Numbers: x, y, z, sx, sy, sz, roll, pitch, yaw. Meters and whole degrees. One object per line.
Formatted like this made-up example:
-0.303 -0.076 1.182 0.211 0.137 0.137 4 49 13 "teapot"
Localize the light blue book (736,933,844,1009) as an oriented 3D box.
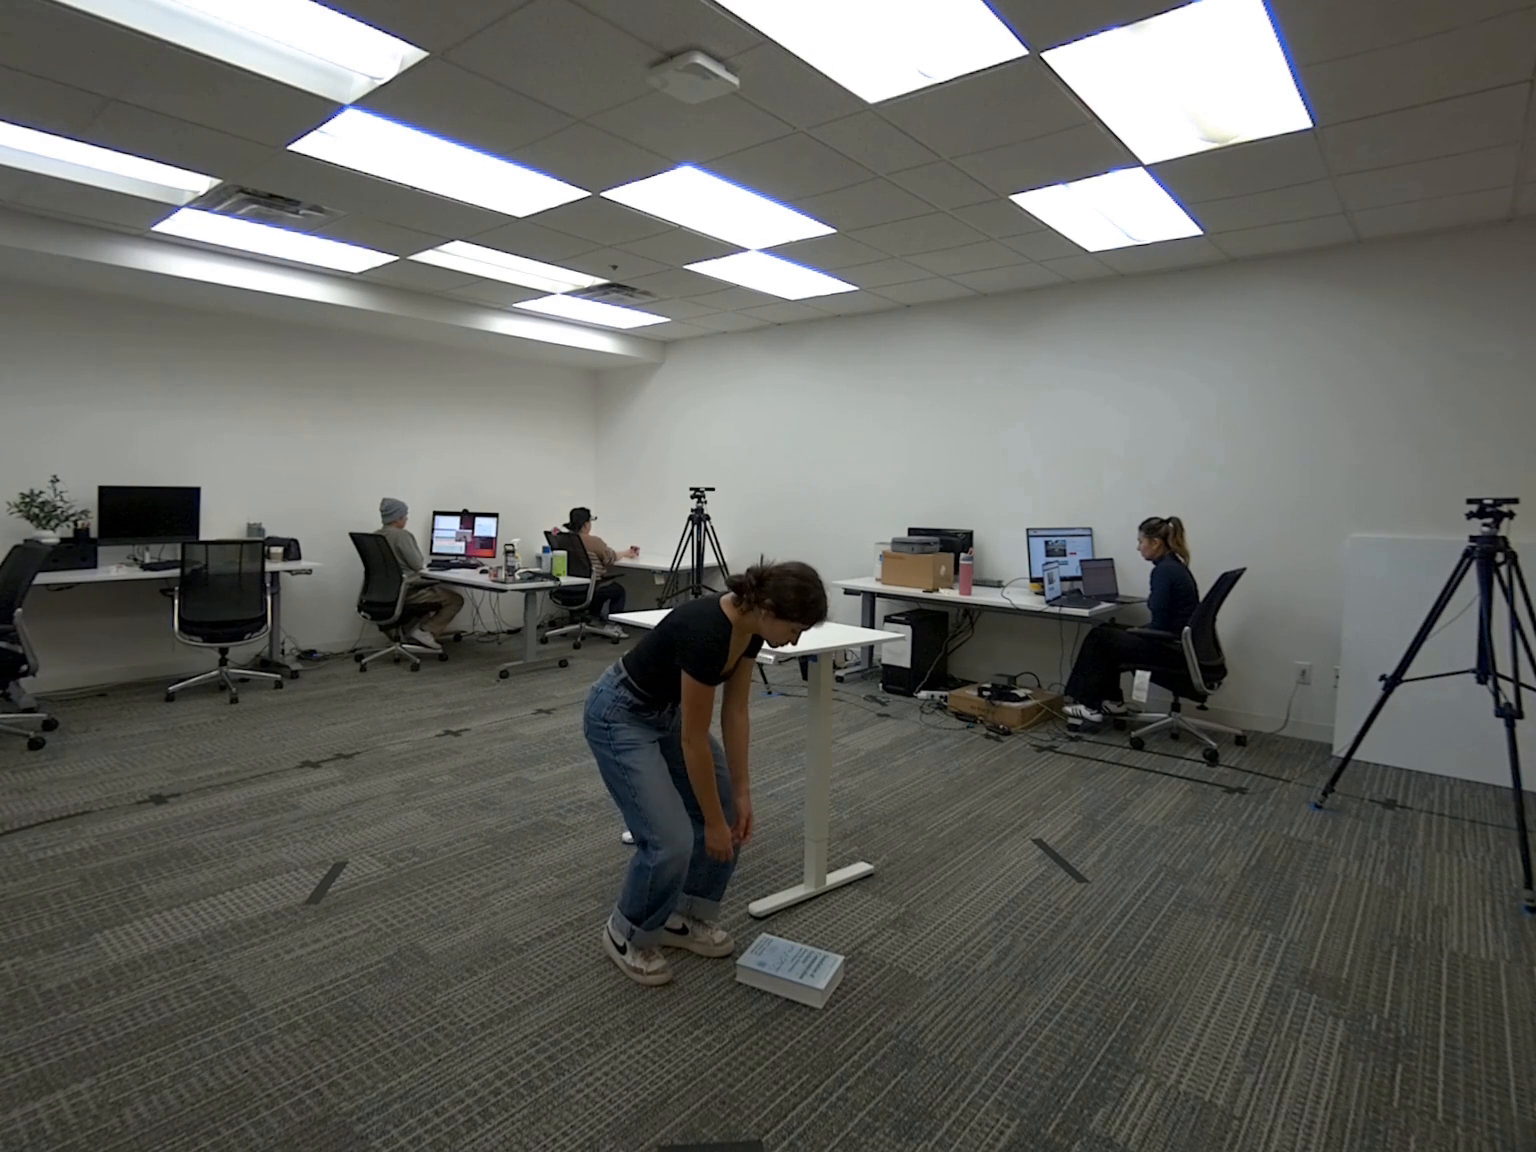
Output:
0.058 1.115 2.408 0.268 0.059 0.187 4 7 26 "light blue book"
